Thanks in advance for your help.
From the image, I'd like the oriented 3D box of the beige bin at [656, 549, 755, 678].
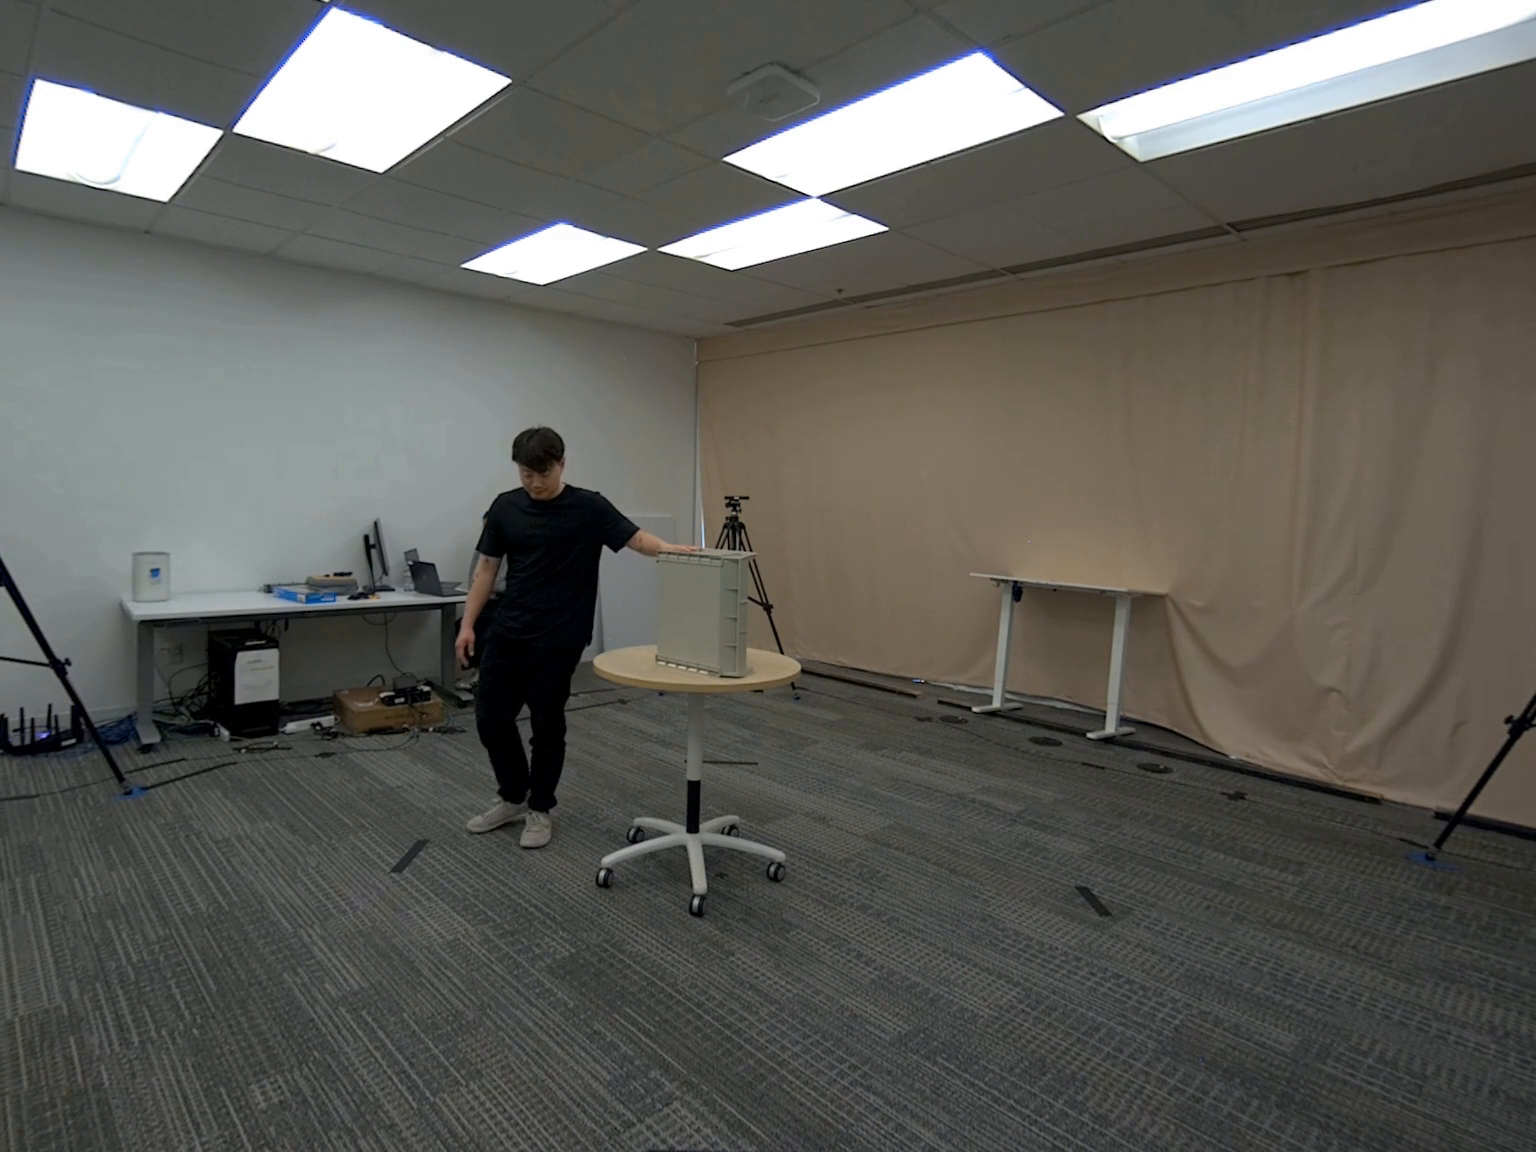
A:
[{"bbox_3d":[-0.217,0.123,2.989,0.387,0.421,0.185,5,6,38],"label":"beige bin"}]
